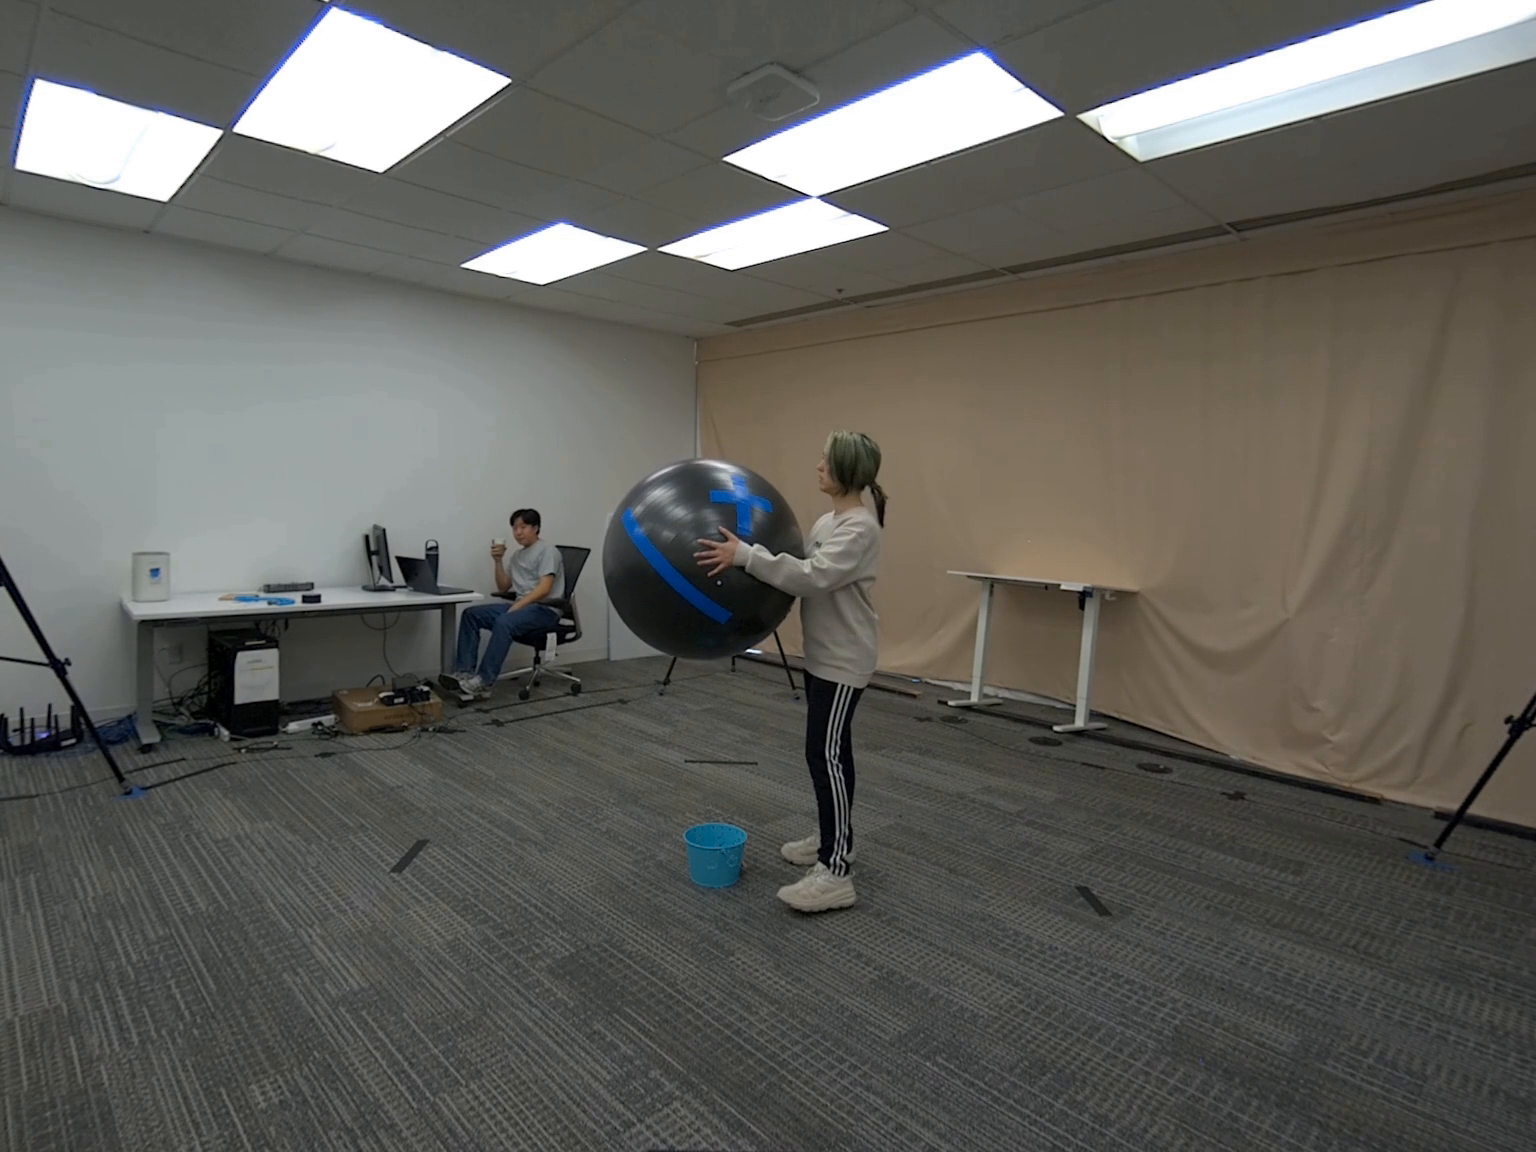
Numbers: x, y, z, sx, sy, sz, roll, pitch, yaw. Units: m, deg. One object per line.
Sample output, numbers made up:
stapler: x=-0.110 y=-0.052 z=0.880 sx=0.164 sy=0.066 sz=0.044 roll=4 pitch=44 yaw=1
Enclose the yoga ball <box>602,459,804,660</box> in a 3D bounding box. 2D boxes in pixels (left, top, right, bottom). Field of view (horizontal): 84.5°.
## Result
yoga ball: x=-0.256 y=-0.056 z=3.179 sx=0.757 sy=0.756 sz=0.761 roll=1 pitch=4 yaw=-1
